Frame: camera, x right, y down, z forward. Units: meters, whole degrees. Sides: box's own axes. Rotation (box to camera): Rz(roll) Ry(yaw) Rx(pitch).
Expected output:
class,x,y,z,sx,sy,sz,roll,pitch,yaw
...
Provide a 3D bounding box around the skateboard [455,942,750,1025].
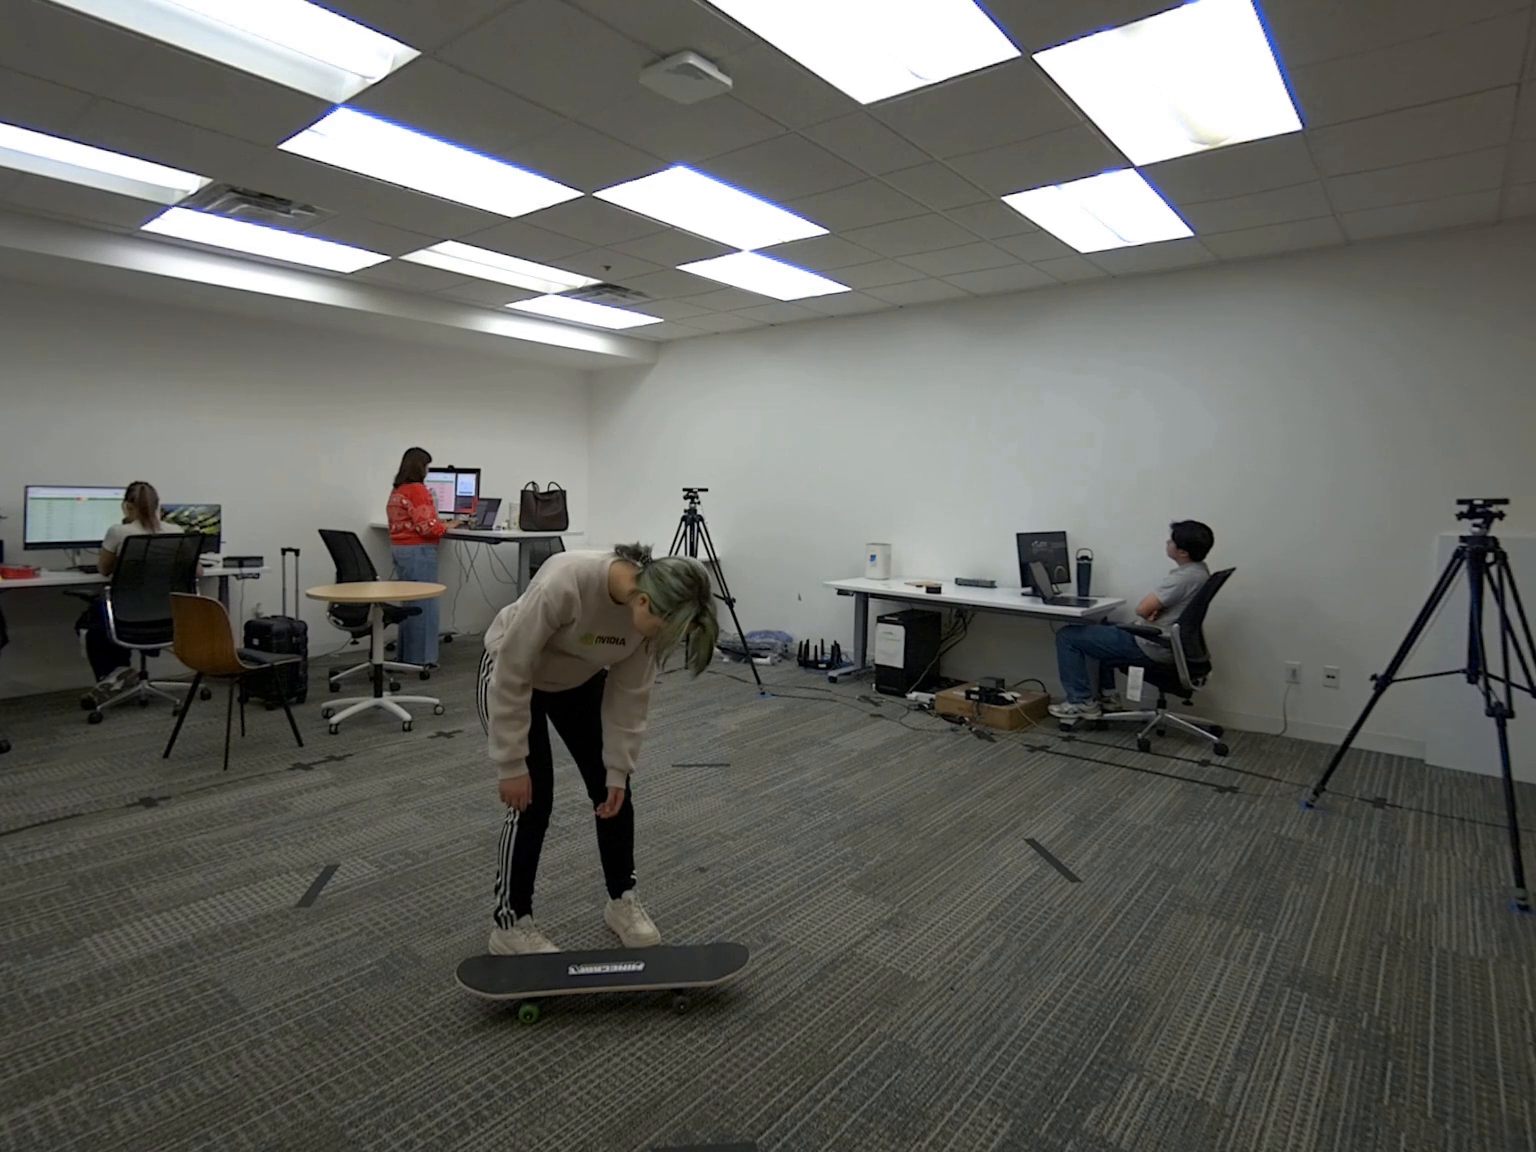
class,x,y,z,sx,sy,sz,roll,pitch,yaw
skateboard,-0.436,1.088,2.302,0.779,0.110,0.196,0,6,-7
